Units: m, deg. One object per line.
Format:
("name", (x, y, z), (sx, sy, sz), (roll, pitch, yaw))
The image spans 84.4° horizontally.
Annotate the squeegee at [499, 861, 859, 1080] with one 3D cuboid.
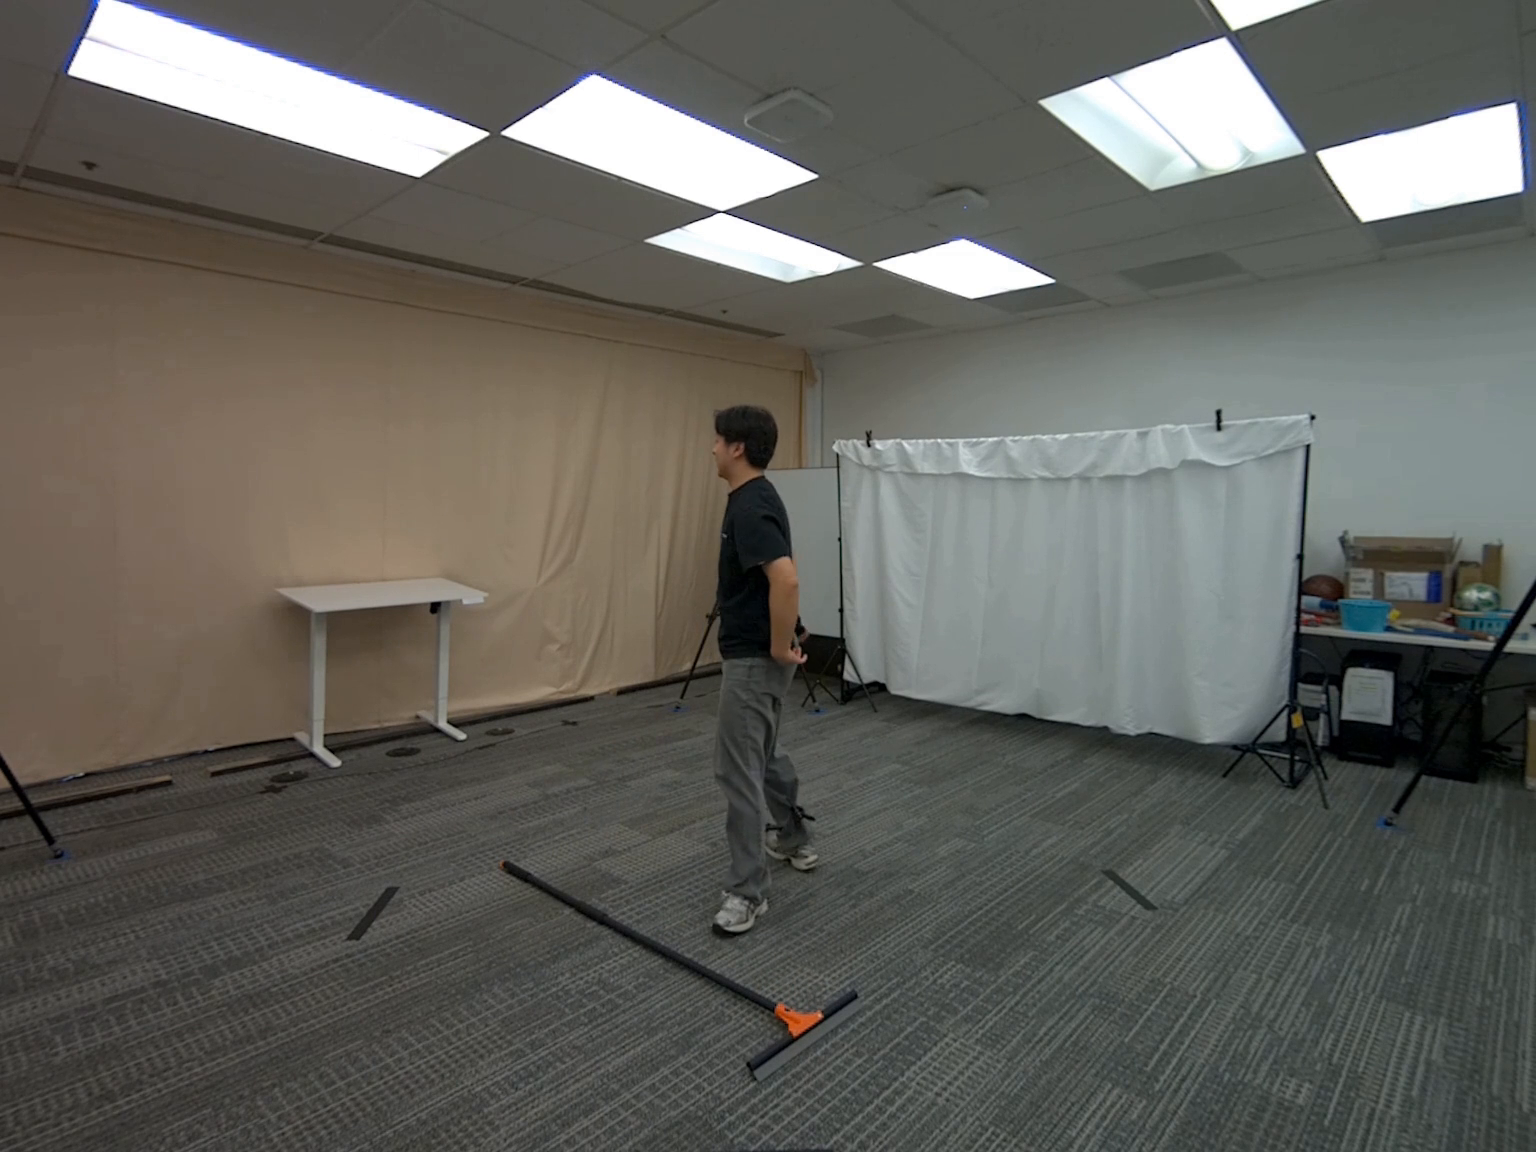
("squeegee", (-0.444, 1.129, 2.734), (1.589, 0.053, 0.424), (3, 5, 44))
